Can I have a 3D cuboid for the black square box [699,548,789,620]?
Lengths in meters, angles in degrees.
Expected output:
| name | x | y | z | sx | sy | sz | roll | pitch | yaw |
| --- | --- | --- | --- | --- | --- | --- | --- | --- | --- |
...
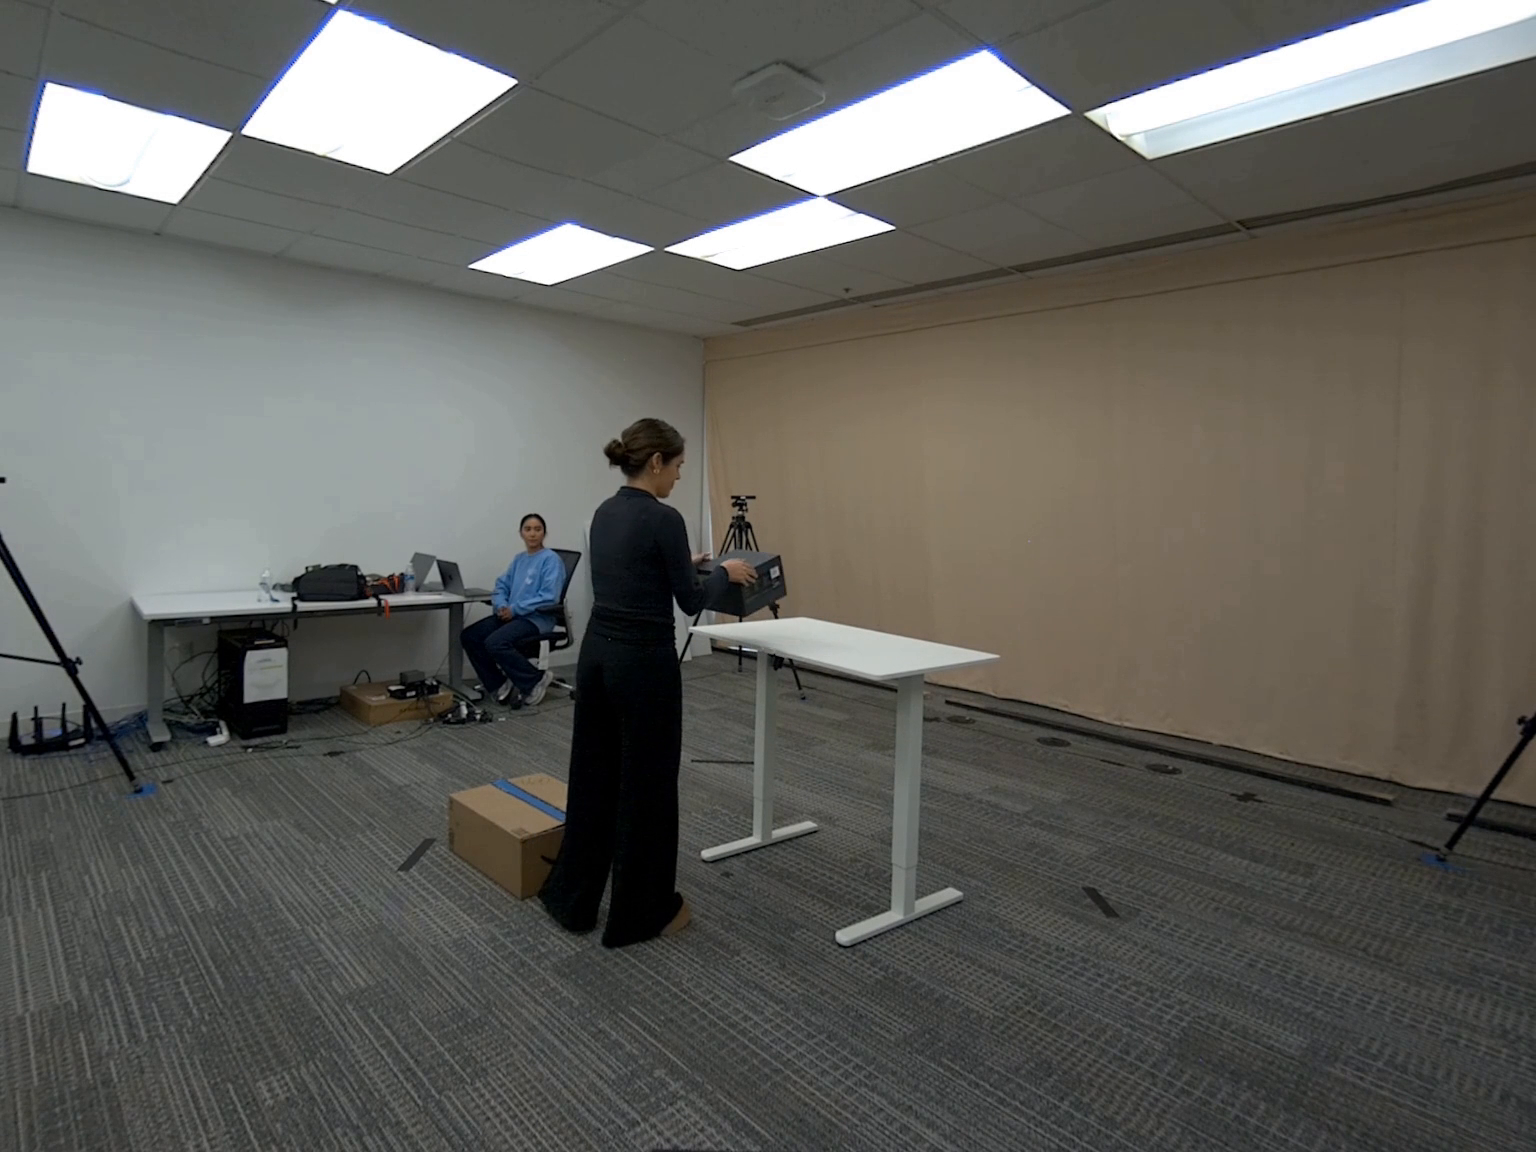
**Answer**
| name | x | y | z | sx | sy | sz | roll | pitch | yaw |
| --- | --- | --- | --- | --- | --- | --- | --- | --- | --- |
| black square box | -0.100 | 0.021 | 2.968 | 0.234 | 0.154 | 0.214 | 8 | 26 | 45 |
